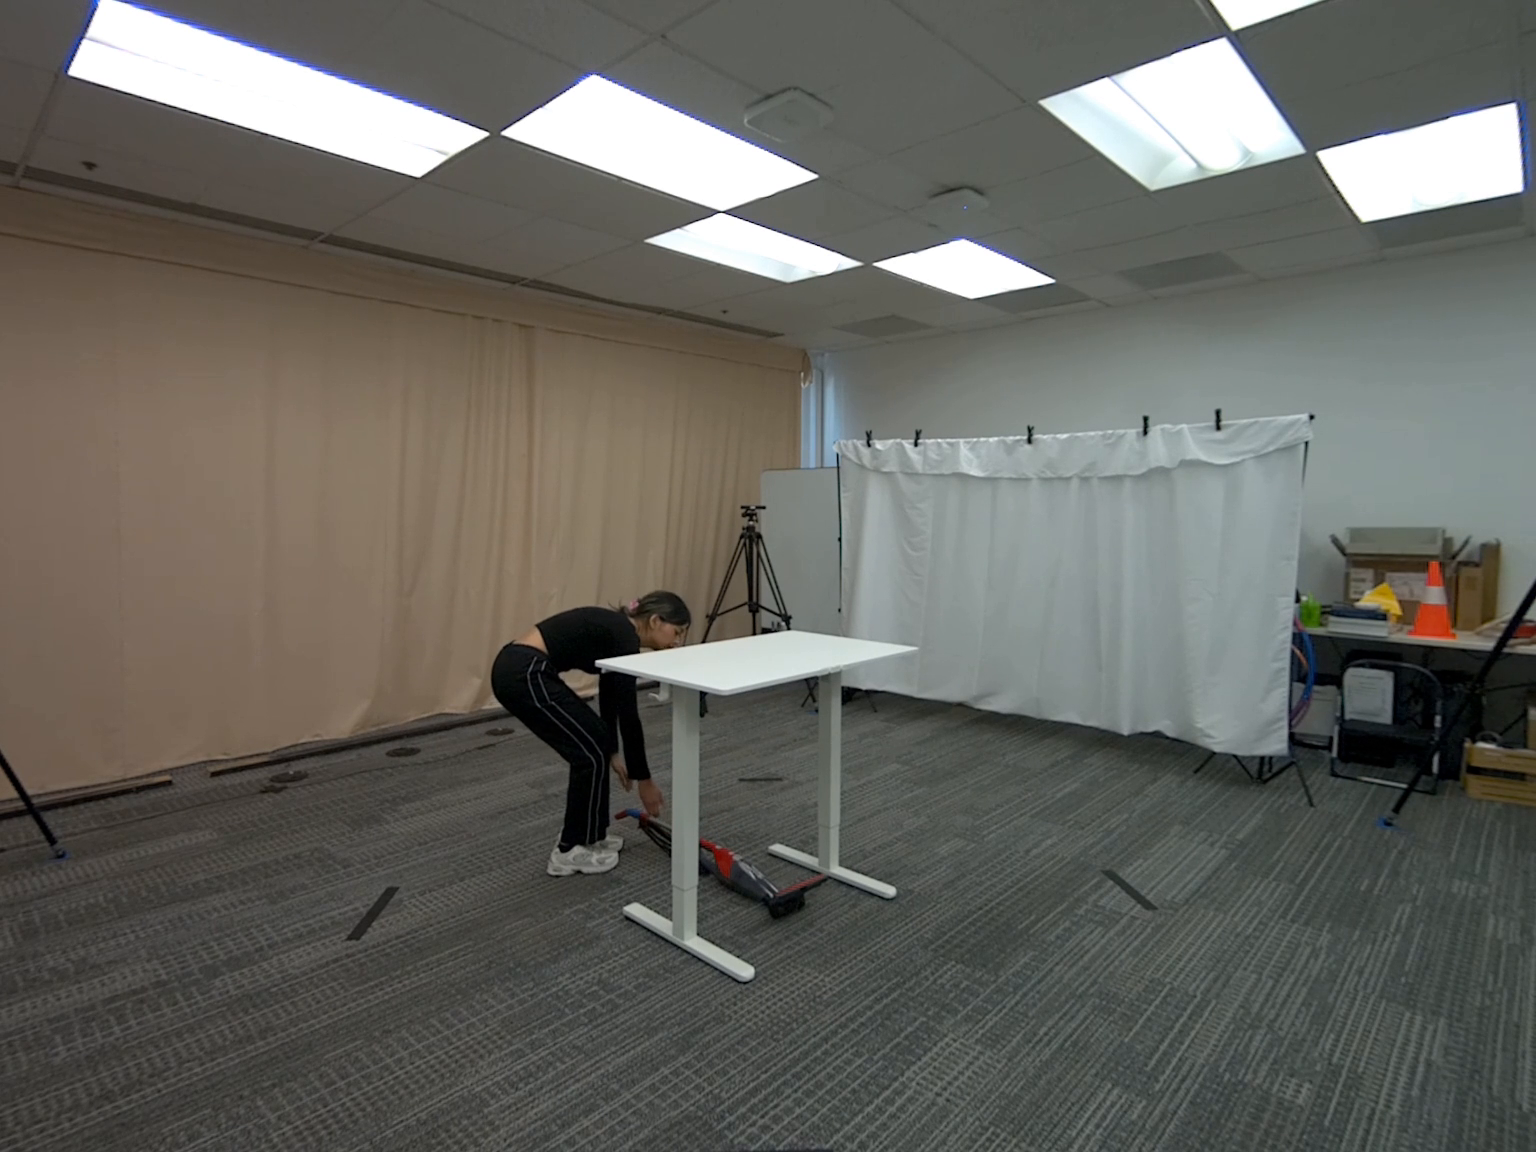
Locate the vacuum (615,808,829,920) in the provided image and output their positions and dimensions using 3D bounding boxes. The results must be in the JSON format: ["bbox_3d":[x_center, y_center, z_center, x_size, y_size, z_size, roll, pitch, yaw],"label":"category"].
[{"bbox_3d":[-0.280,1.072,3.238,0.245,0.144,1.084,-4,5,-43],"label":"vacuum"}]
